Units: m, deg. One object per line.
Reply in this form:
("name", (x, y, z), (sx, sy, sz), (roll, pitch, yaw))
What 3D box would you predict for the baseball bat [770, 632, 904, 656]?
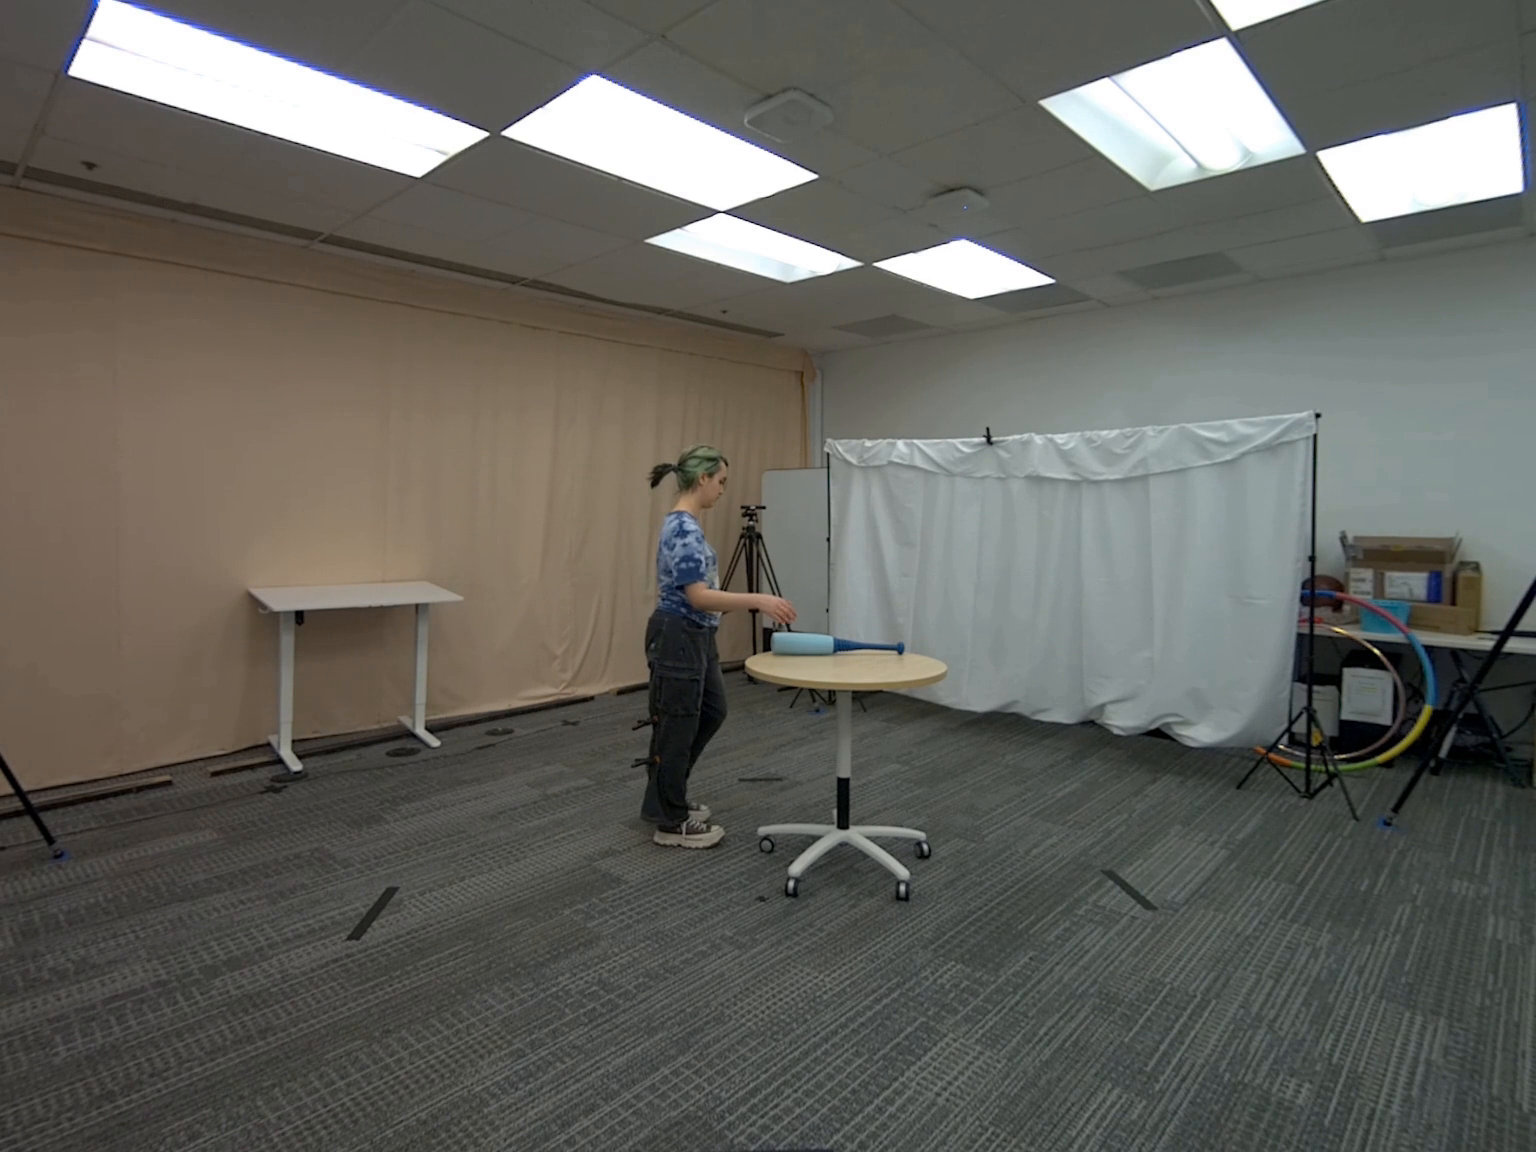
("baseball bat", (0.291, 0.286, 3.438), (0.541, 0.089, 0.089), (2, 4, -3))
